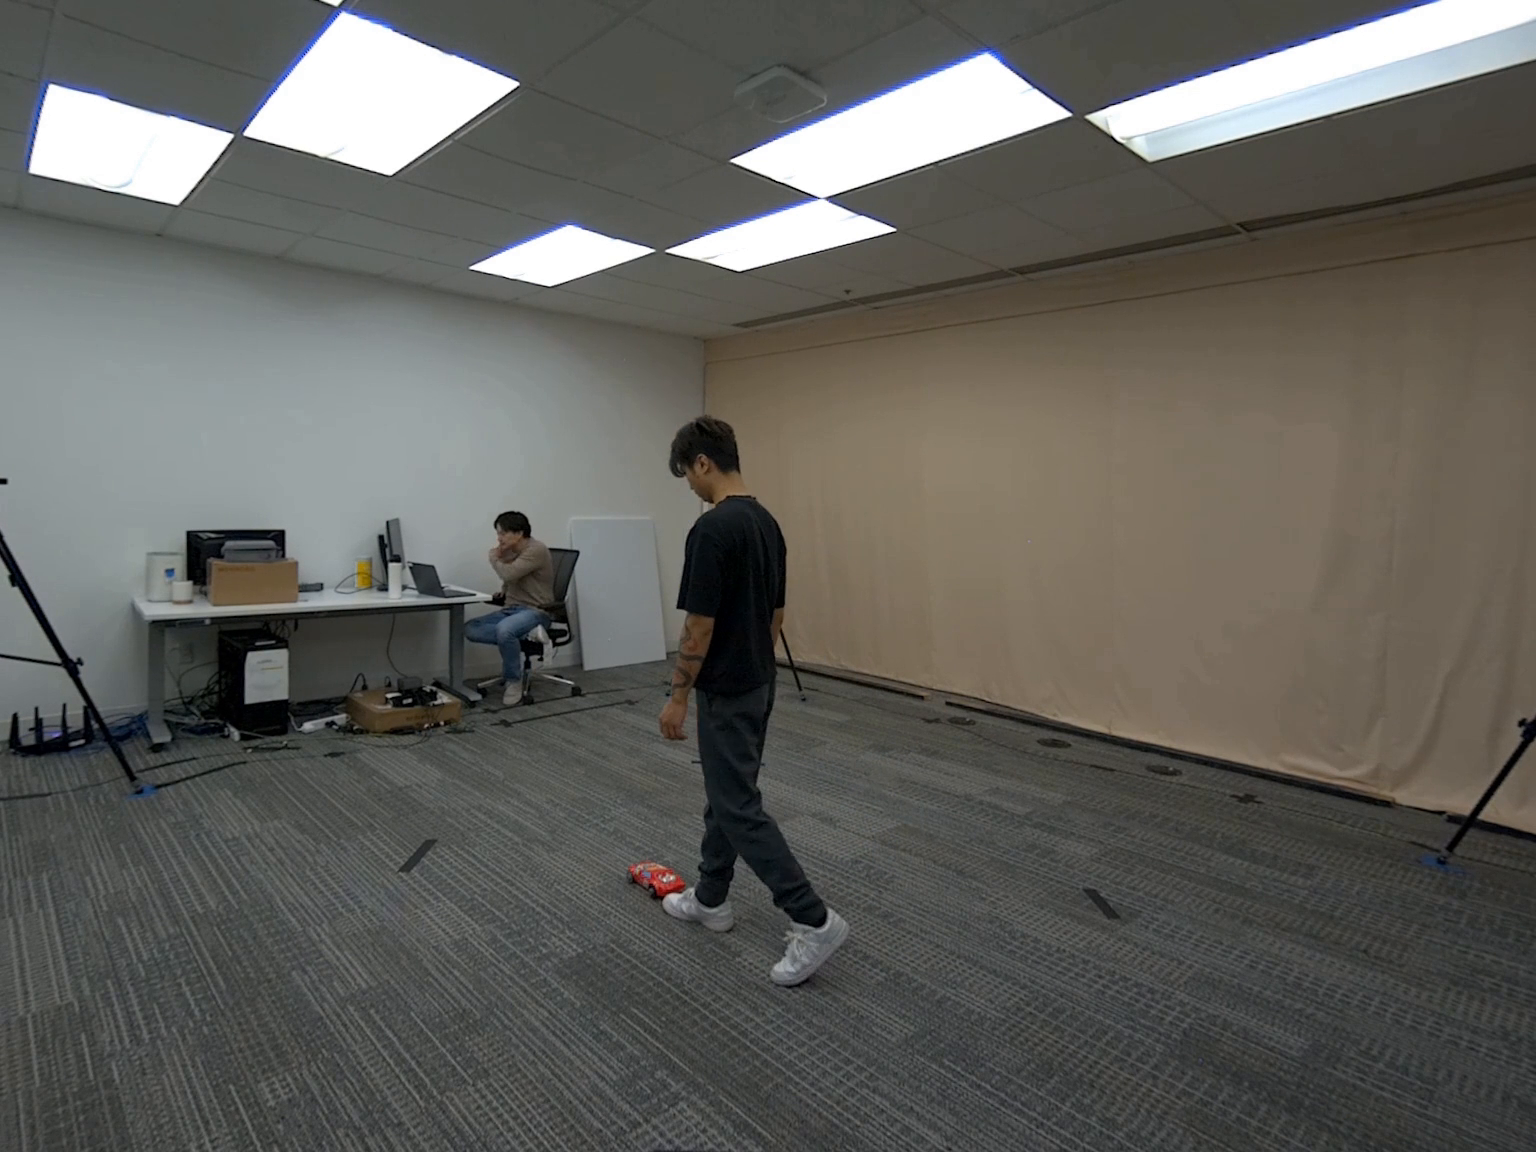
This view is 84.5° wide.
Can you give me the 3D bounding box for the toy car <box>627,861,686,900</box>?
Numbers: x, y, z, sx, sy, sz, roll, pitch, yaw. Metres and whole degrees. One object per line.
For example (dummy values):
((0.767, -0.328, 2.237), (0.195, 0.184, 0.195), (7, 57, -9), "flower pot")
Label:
((-0.401, 1.079, 2.985), (0.127, 0.083, 0.259), (-2, -4, -40), "toy car")
